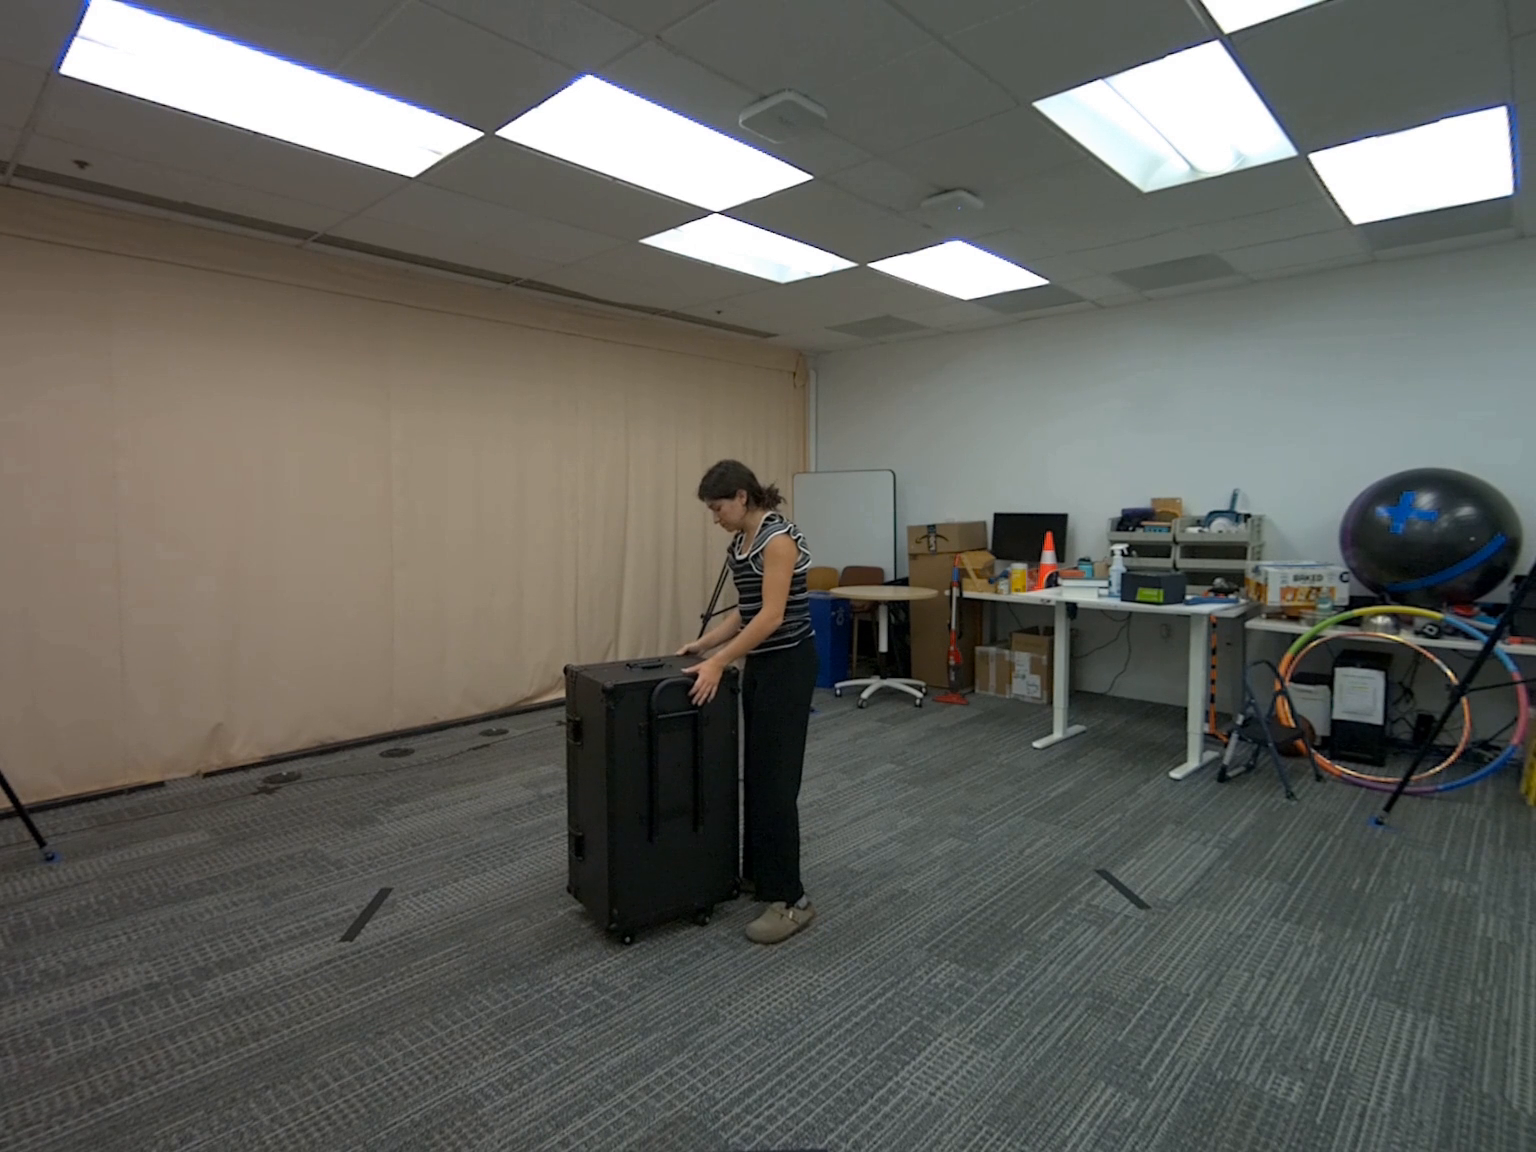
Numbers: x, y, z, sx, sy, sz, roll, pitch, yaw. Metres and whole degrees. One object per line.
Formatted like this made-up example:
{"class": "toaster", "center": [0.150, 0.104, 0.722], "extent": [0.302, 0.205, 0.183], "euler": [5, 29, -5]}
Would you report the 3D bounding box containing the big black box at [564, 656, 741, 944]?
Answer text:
{"class": "big black box", "center": [-0.392, 0.734, 2.834], "extent": [0.507, 0.859, 0.408], "euler": [-2, 4, -30]}
